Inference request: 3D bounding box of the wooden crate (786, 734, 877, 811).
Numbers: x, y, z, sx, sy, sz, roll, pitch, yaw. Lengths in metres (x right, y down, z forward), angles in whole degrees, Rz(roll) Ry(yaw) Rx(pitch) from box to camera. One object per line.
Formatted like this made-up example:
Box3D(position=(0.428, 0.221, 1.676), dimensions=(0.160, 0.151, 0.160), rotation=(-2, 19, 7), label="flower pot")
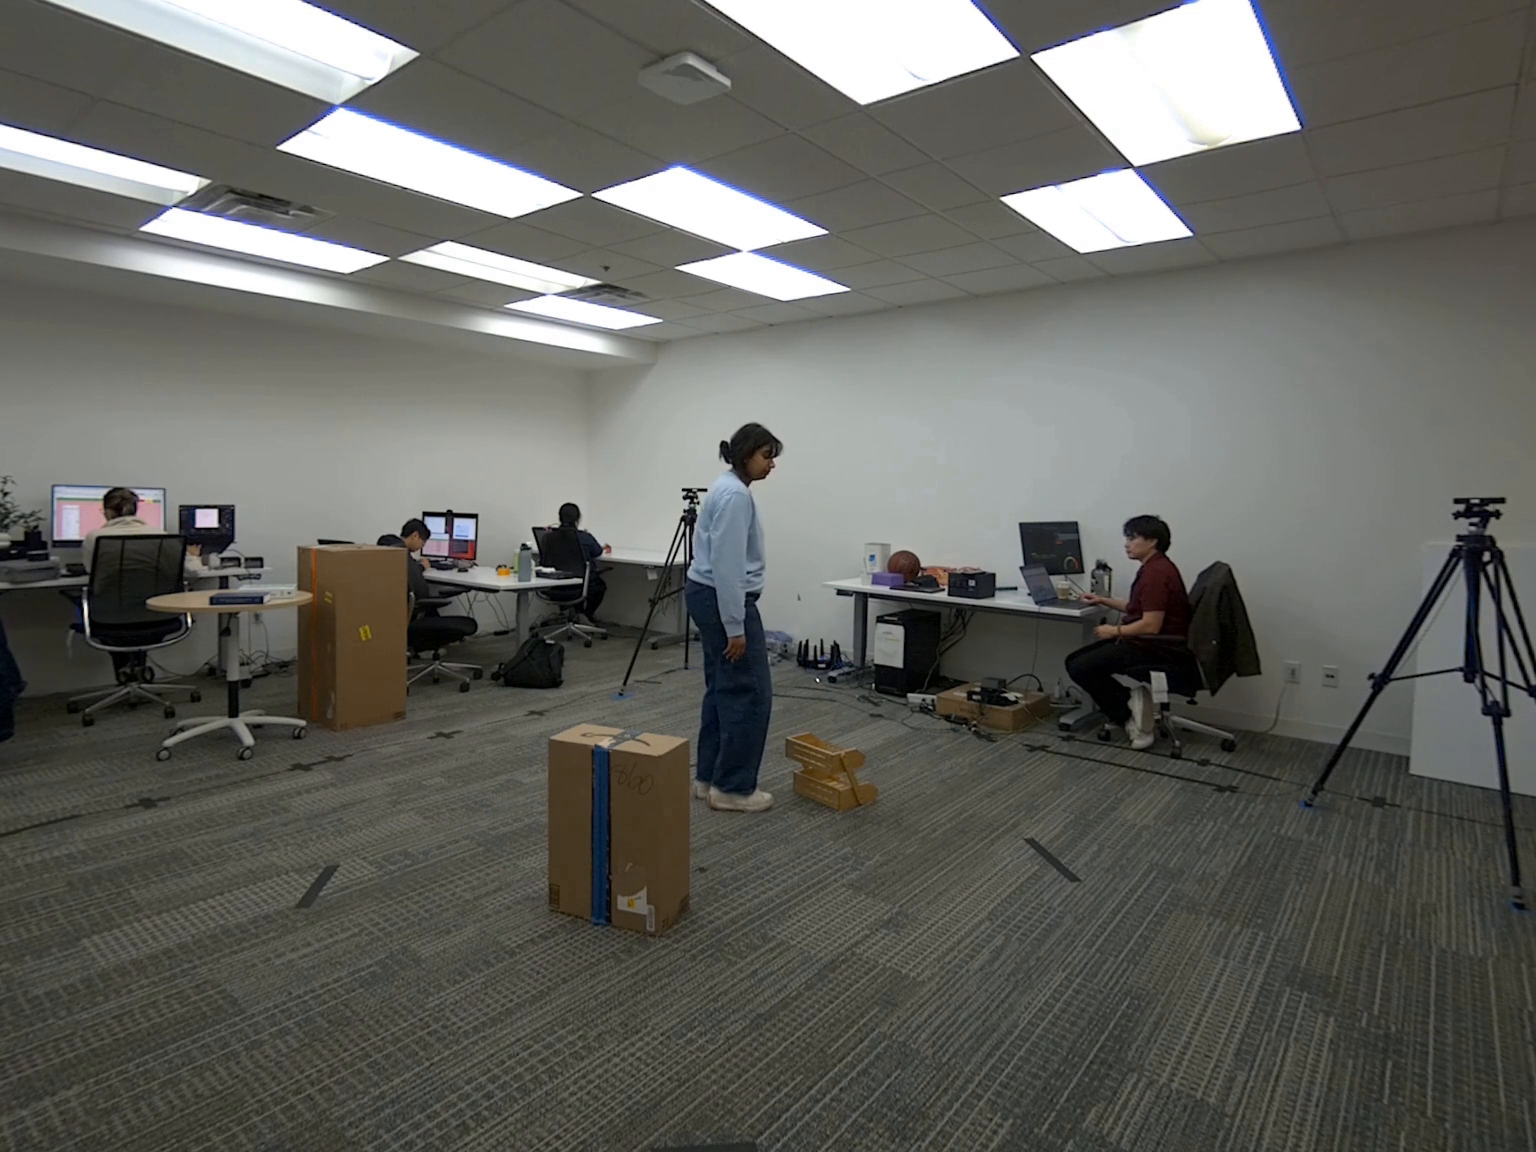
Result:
Box3D(position=(0.283, 0.875, 3.883), dimensions=(0.293, 0.272, 0.335), rotation=(-4, 7, -40), label="wooden crate")
